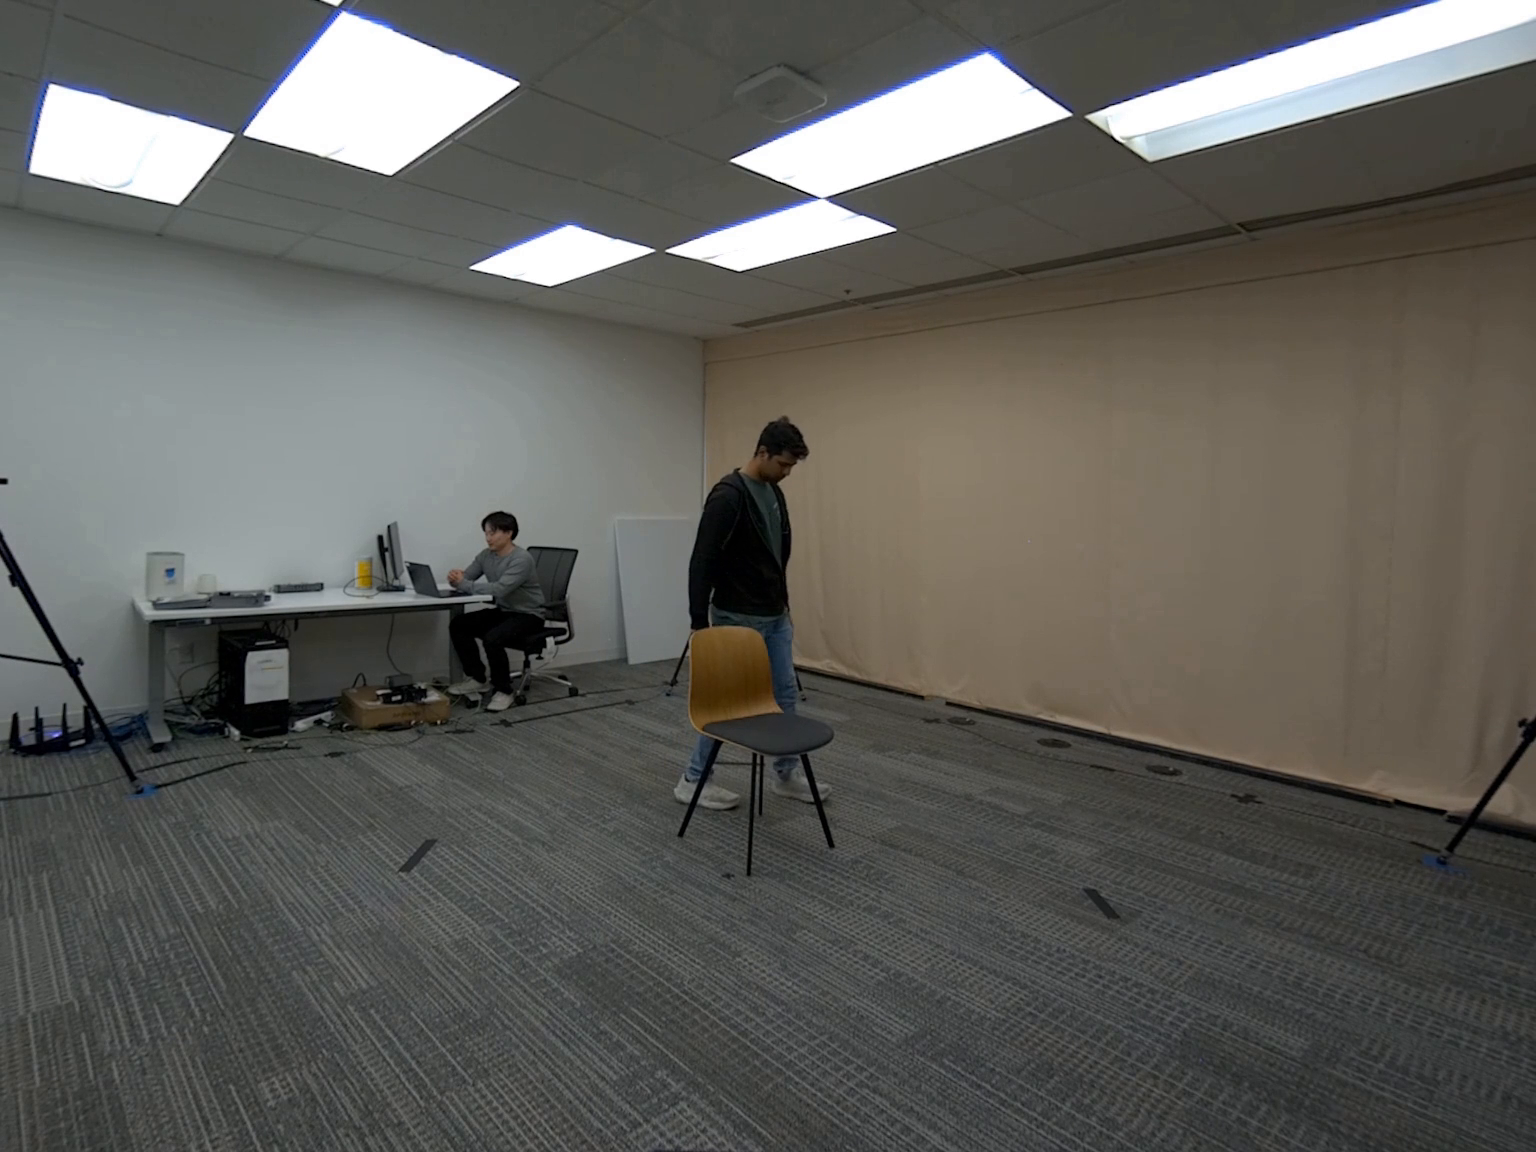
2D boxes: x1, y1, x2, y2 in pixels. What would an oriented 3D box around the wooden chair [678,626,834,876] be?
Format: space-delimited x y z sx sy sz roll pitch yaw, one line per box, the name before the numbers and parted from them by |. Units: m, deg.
wooden chair | -0.047 0.660 3.378 0.467 0.878 0.535 0 -1 -40
